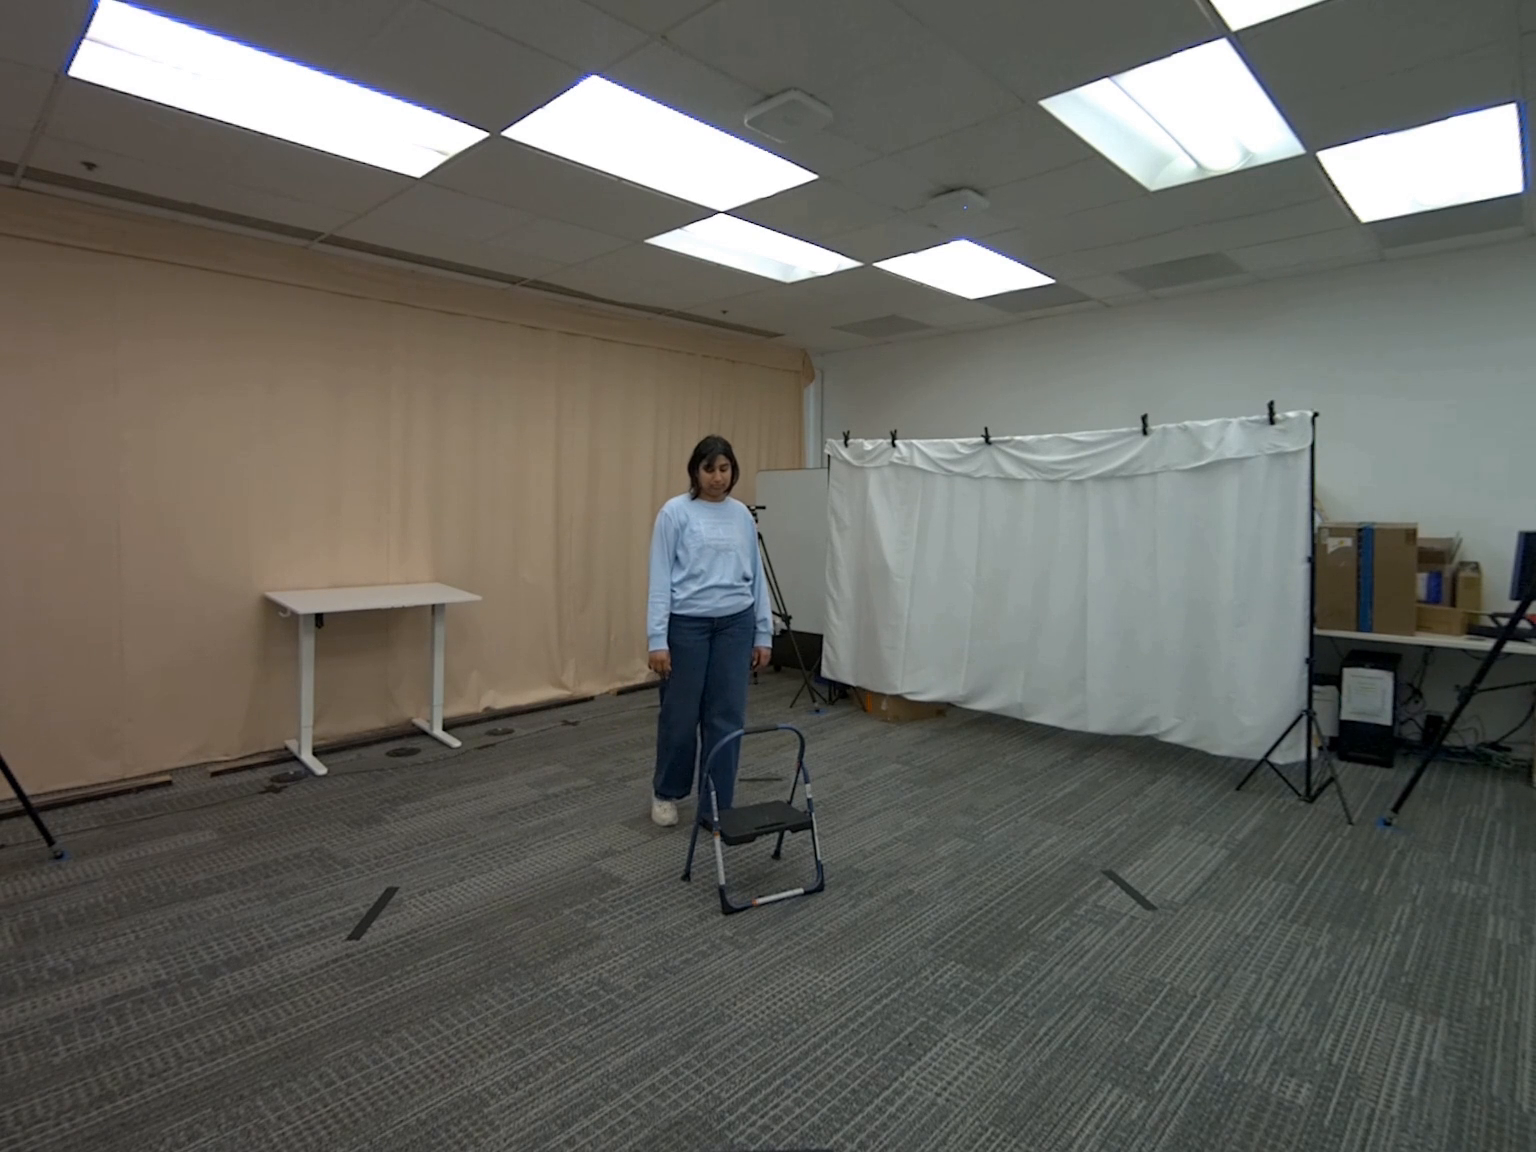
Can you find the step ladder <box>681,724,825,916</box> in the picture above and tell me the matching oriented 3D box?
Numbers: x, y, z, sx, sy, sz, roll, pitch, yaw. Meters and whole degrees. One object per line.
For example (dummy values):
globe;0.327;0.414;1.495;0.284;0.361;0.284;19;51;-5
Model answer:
step ladder;-0.054;0.834;3.083;0.419;0.605;0.359;-3;4;-30
